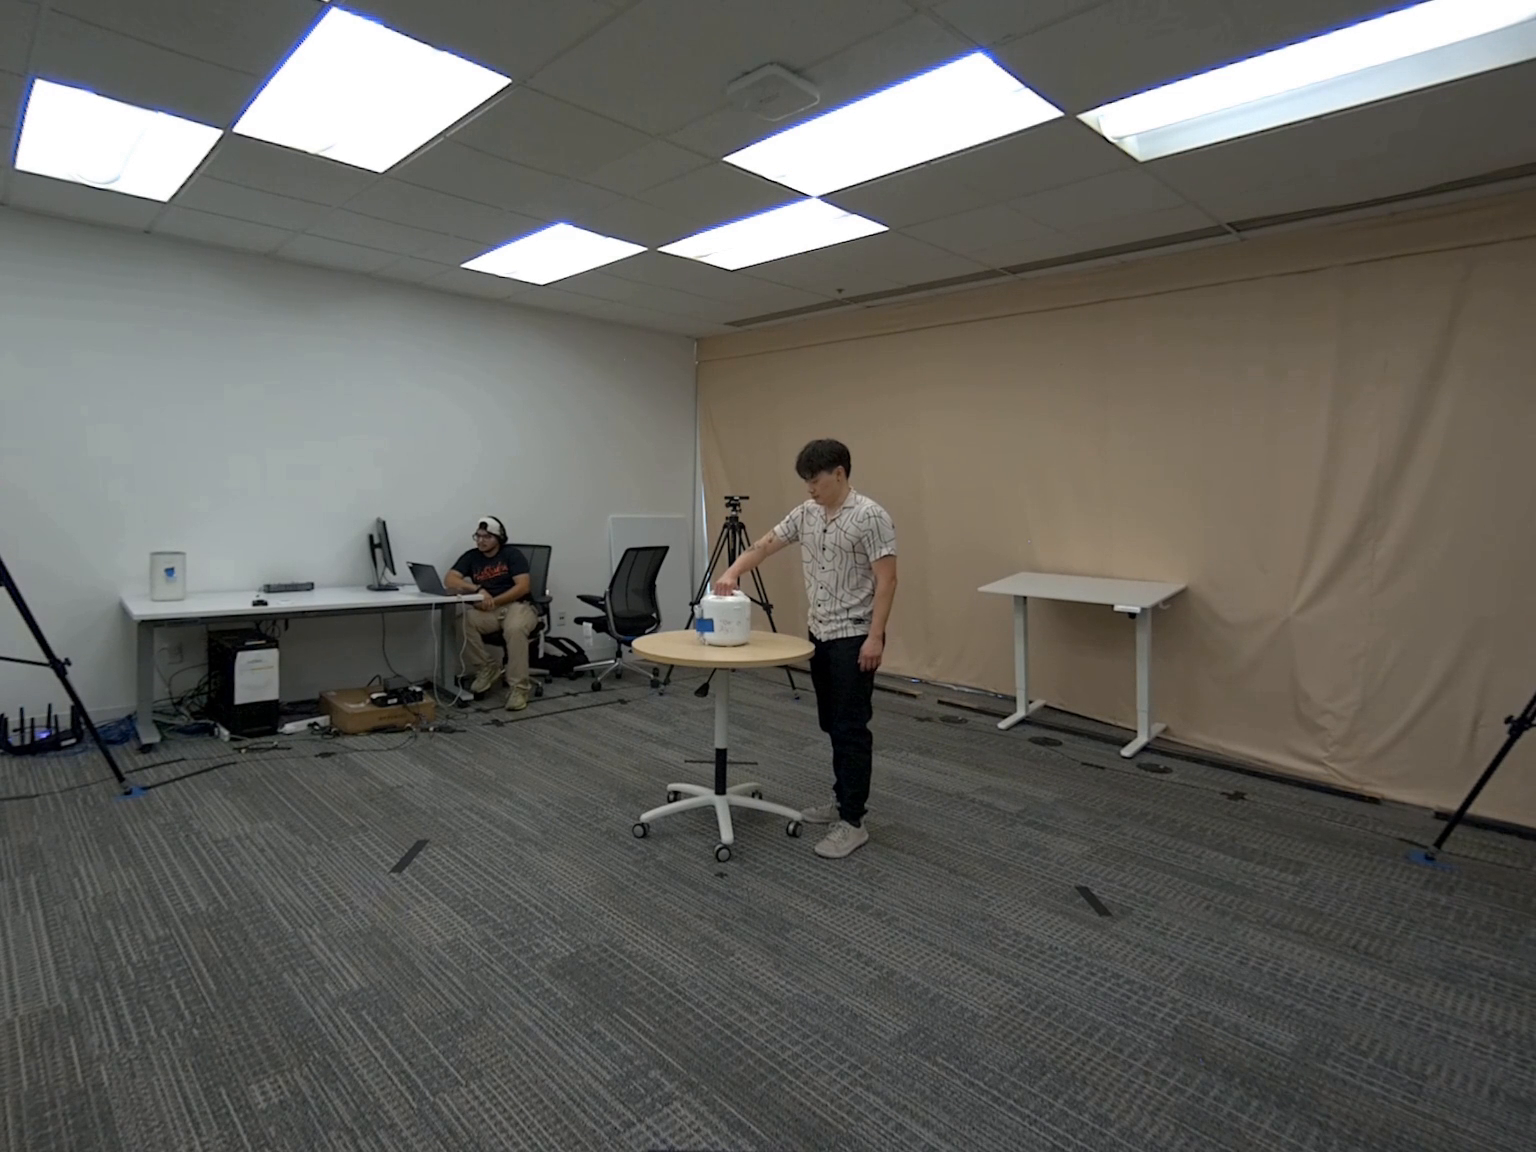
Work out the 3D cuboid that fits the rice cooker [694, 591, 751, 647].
[{"bbox_3d":[-0.184,0.168,3.527,0.225,0.232,0.214,3,5,23],"label":"rice cooker"}]
